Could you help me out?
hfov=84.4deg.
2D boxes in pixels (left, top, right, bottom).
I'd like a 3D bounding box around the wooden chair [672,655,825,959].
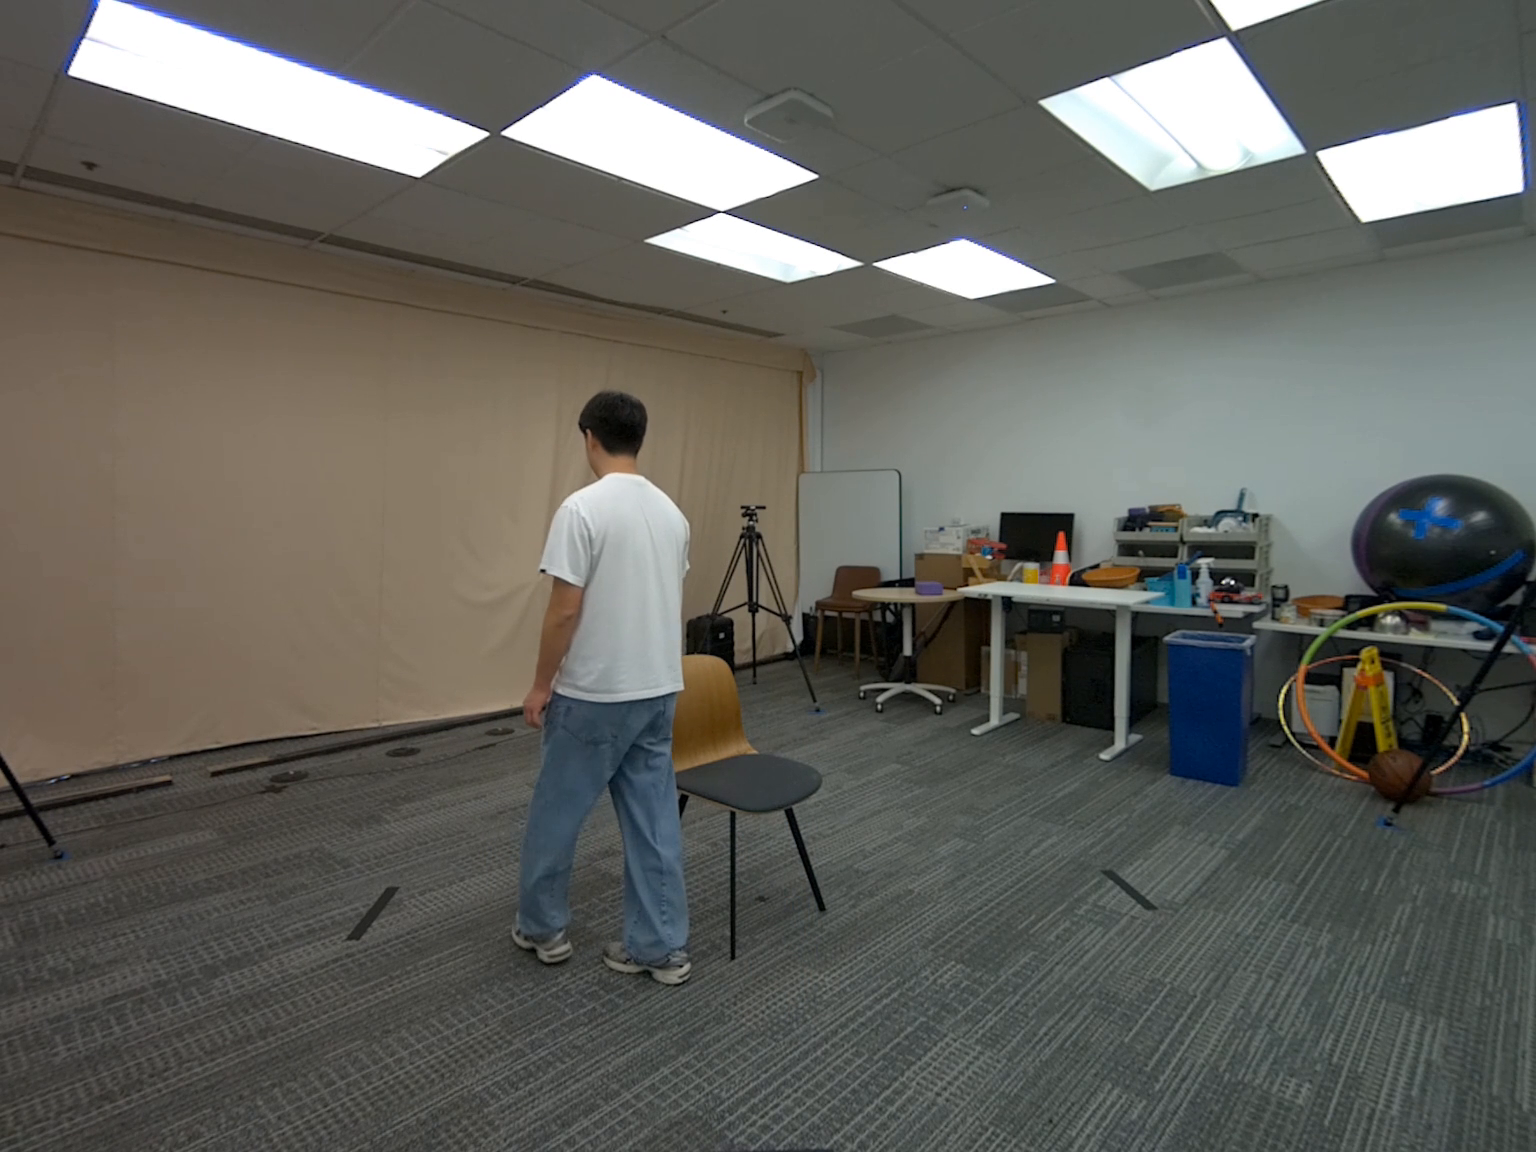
[{"bbox_3d":[-0.109,0.730,2.864,0.539,0.877,0.463,-3,1,44],"label":"wooden chair"}]
